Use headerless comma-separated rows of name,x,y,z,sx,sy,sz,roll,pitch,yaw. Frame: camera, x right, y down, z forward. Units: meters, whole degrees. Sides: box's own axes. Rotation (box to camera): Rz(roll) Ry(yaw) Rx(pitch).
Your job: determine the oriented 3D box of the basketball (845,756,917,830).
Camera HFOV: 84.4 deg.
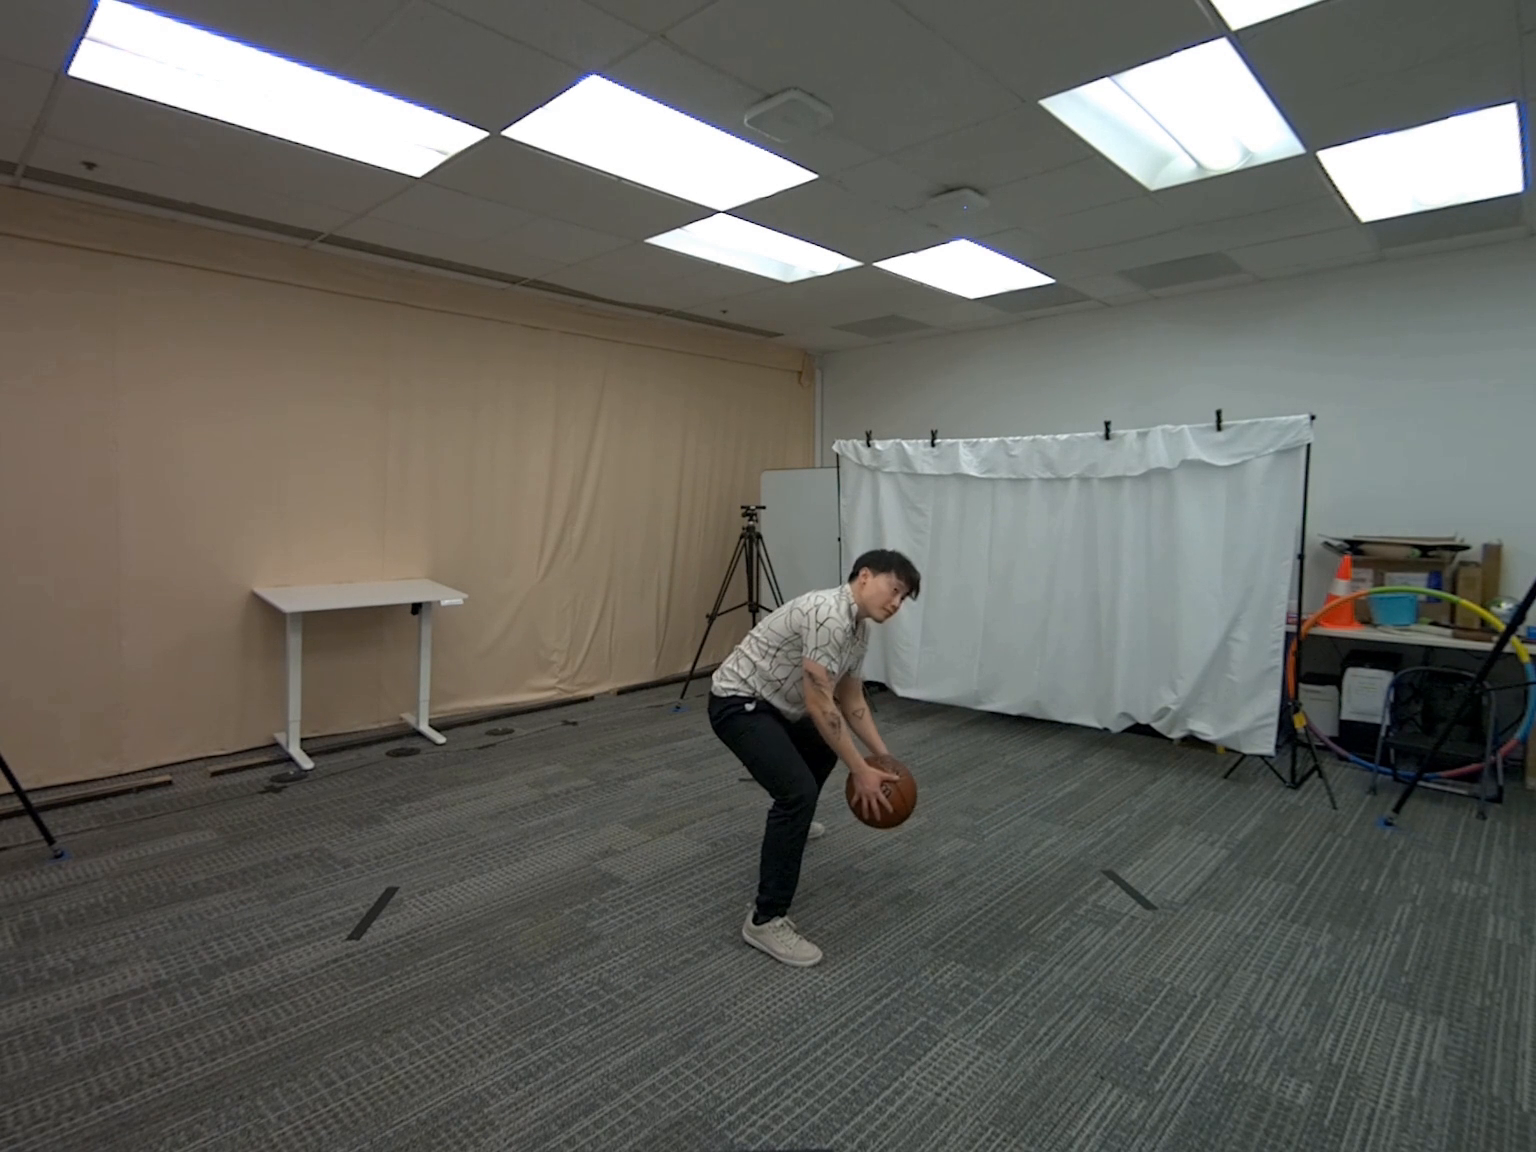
basketball,0.397,0.718,2.838,0.236,0.235,0.237,0,4,-2
